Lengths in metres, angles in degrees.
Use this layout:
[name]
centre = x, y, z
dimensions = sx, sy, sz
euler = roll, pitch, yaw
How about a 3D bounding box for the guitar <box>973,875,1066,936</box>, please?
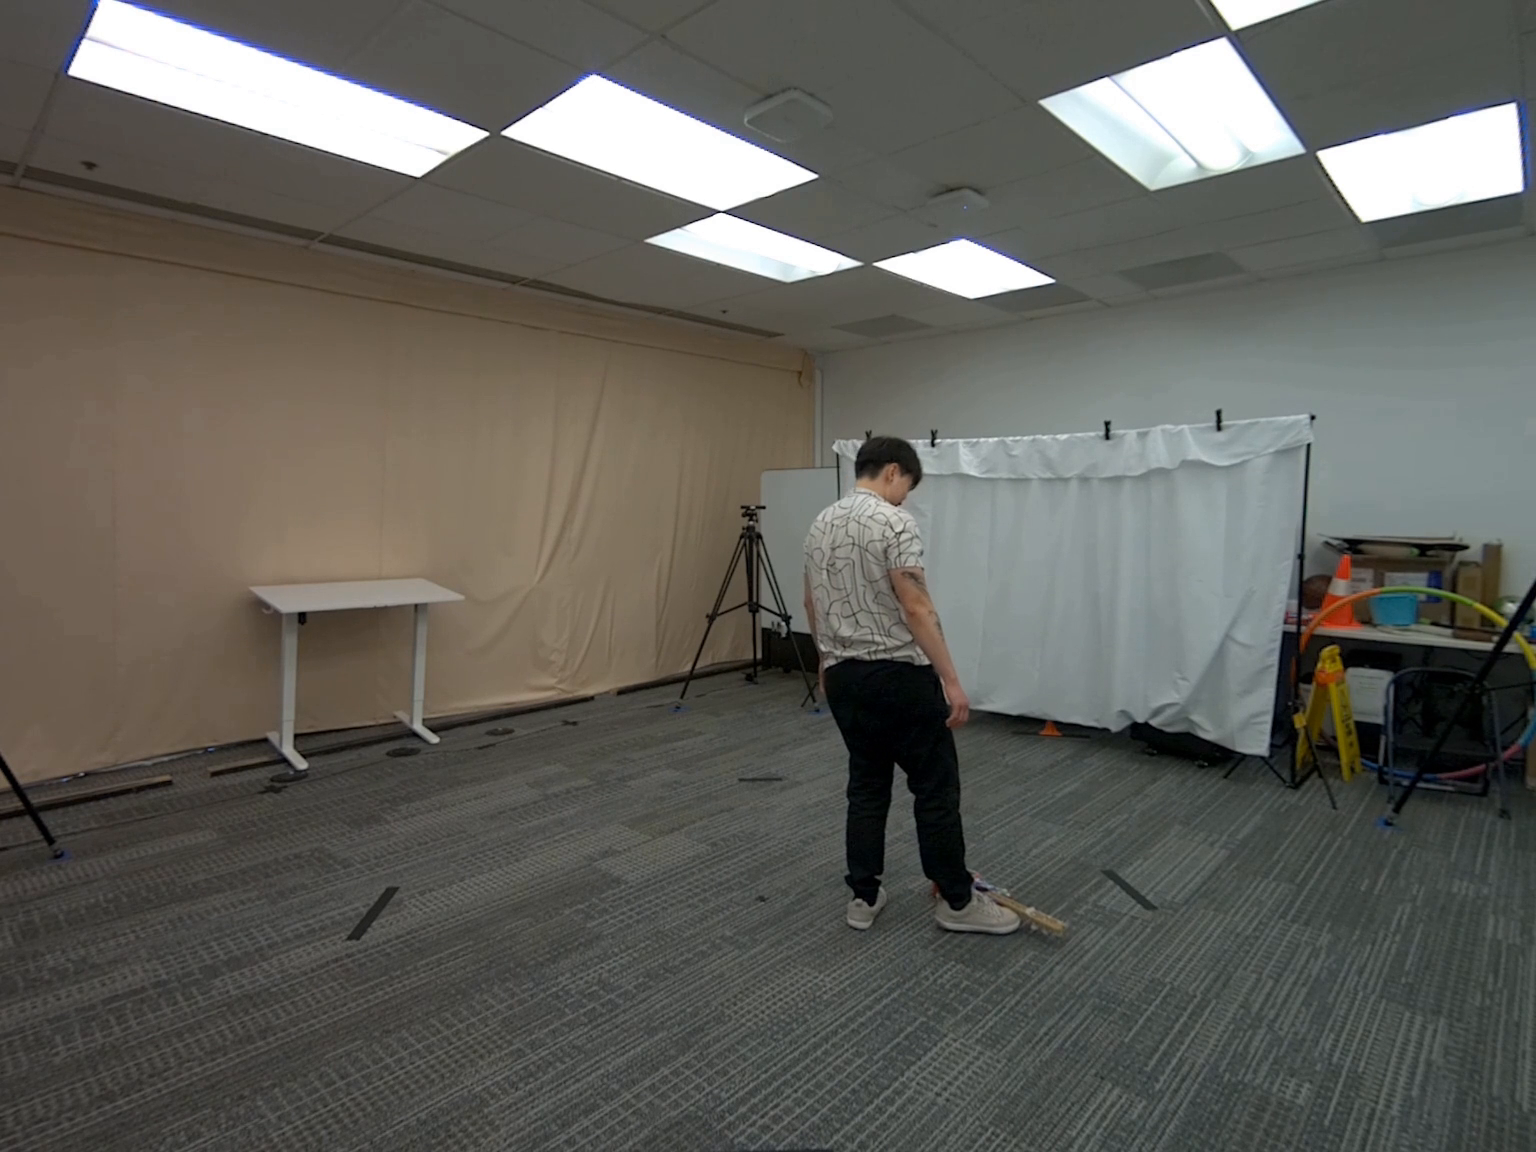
[guitar]
centre = 0.769, 1.118, 2.843
dimensions = 0.188, 0.070, 0.511
euler = -1, 4, -26
